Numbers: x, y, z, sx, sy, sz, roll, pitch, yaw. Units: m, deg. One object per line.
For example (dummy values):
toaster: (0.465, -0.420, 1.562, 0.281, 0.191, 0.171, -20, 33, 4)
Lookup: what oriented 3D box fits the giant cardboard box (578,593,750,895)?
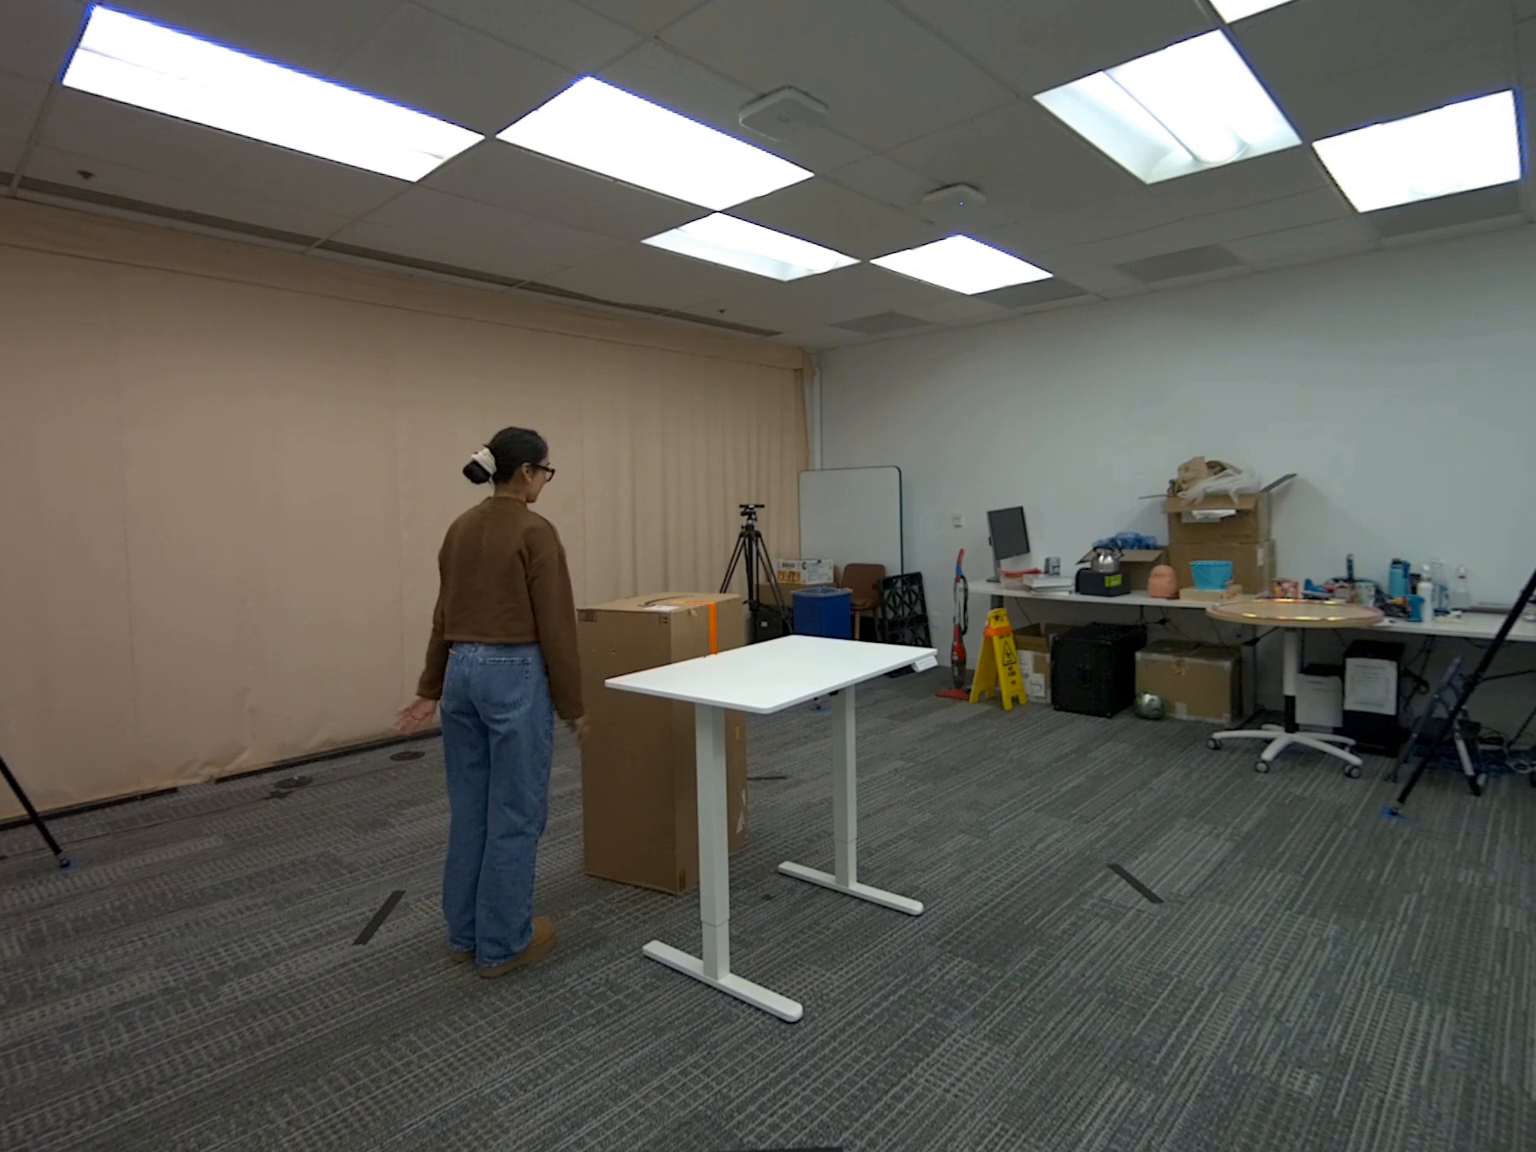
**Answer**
giant cardboard box: (-0.398, 0.607, 3.330, 0.437, 1.024, 0.563, 0, 3, 26)
